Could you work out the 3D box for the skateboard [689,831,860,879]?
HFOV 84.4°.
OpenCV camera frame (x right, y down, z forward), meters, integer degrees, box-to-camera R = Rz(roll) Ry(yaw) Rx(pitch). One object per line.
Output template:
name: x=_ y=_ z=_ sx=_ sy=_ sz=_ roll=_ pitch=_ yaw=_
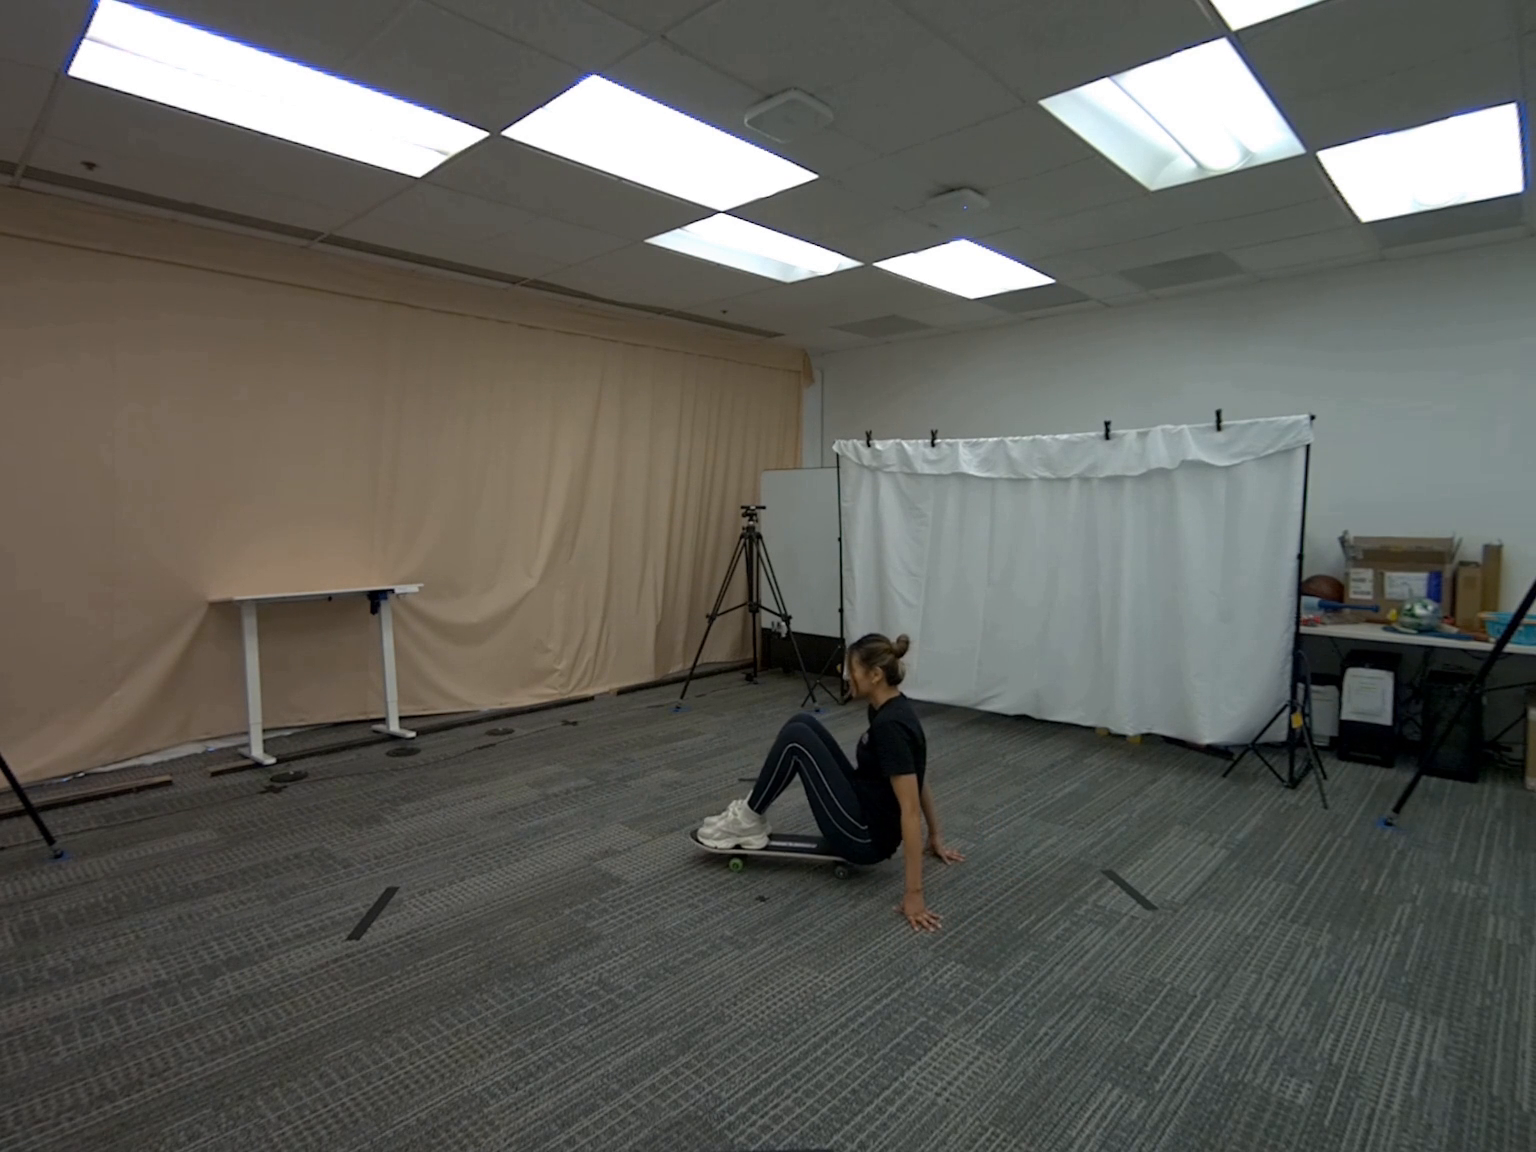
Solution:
skateboard: x=0.093 y=1.076 z=3.252 sx=0.793 sy=0.110 sz=0.192 roll=1 pitch=4 yaw=9
